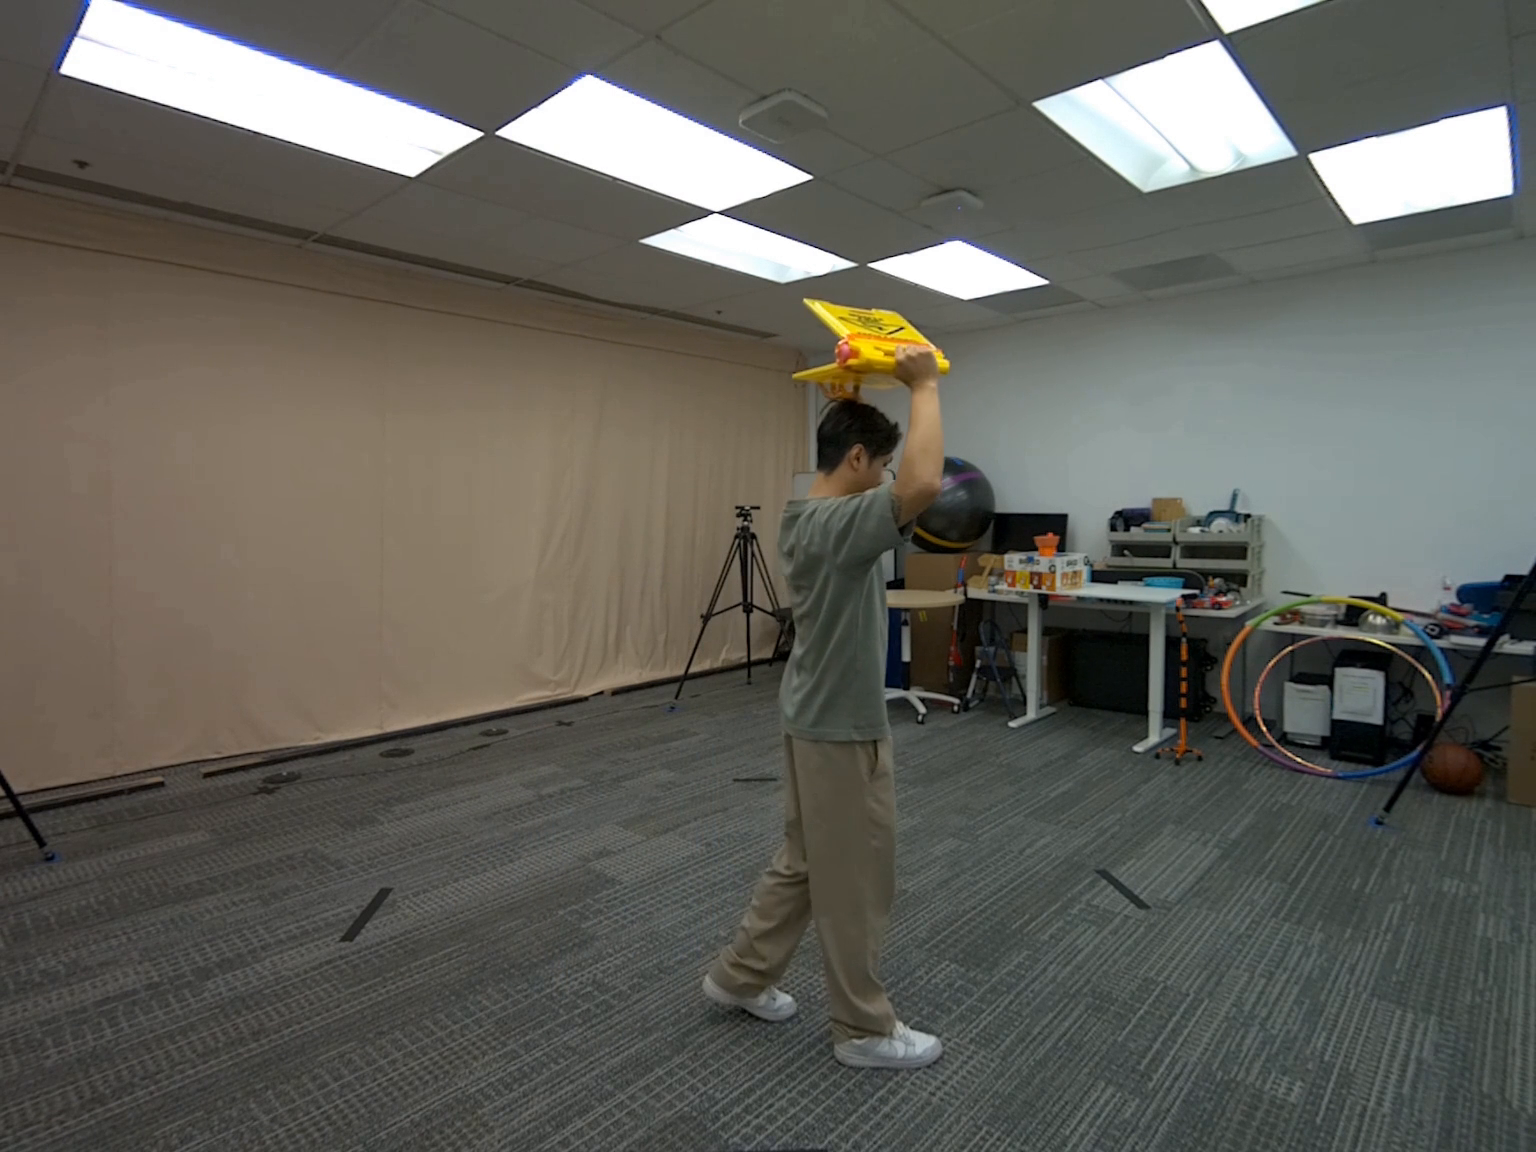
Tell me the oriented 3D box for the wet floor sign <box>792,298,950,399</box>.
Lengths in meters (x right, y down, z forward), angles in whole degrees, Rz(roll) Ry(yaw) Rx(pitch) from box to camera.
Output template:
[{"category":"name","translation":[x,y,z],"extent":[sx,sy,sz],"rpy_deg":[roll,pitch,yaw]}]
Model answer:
[{"category":"wet floor sign","translation":[0.264,-0.562,2.140],"extent":[0.279,0.288,0.658],"rpy_deg":[6,16,-12]}]
